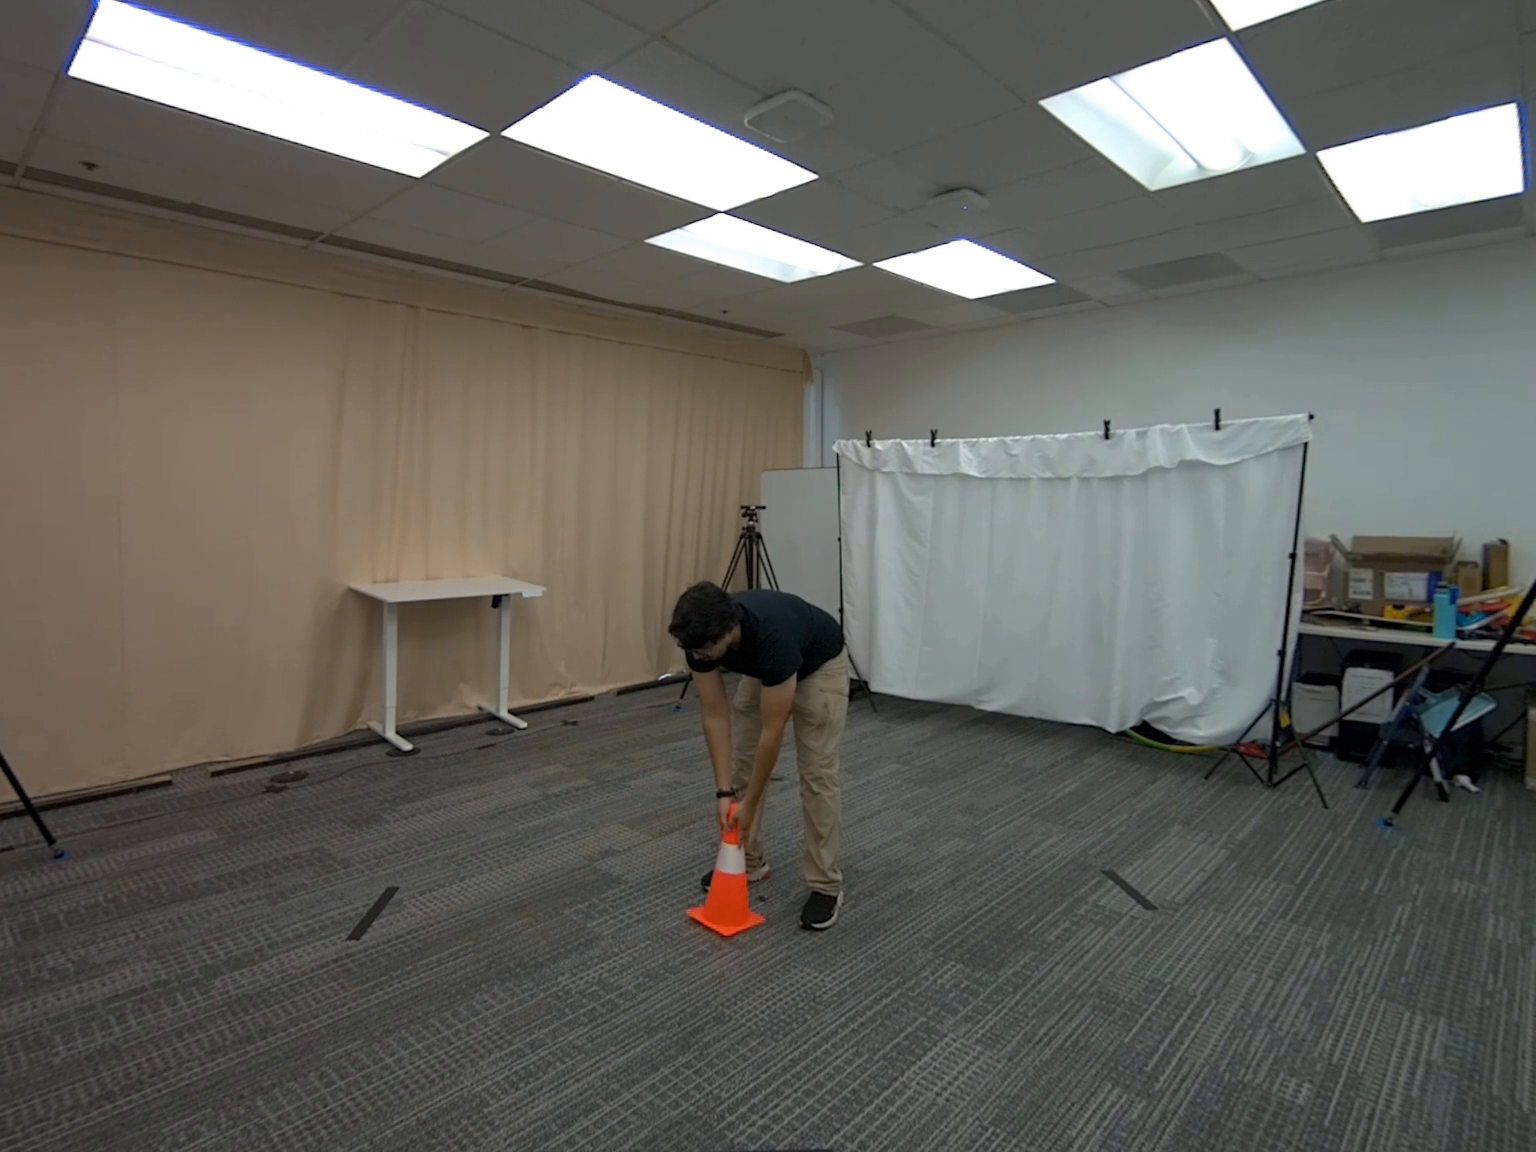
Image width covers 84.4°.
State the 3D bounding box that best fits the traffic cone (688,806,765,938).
[{"bbox_3d":[-0.119,0.961,2.818,0.212,0.383,0.197,9,4,39],"label":"traffic cone"}]
